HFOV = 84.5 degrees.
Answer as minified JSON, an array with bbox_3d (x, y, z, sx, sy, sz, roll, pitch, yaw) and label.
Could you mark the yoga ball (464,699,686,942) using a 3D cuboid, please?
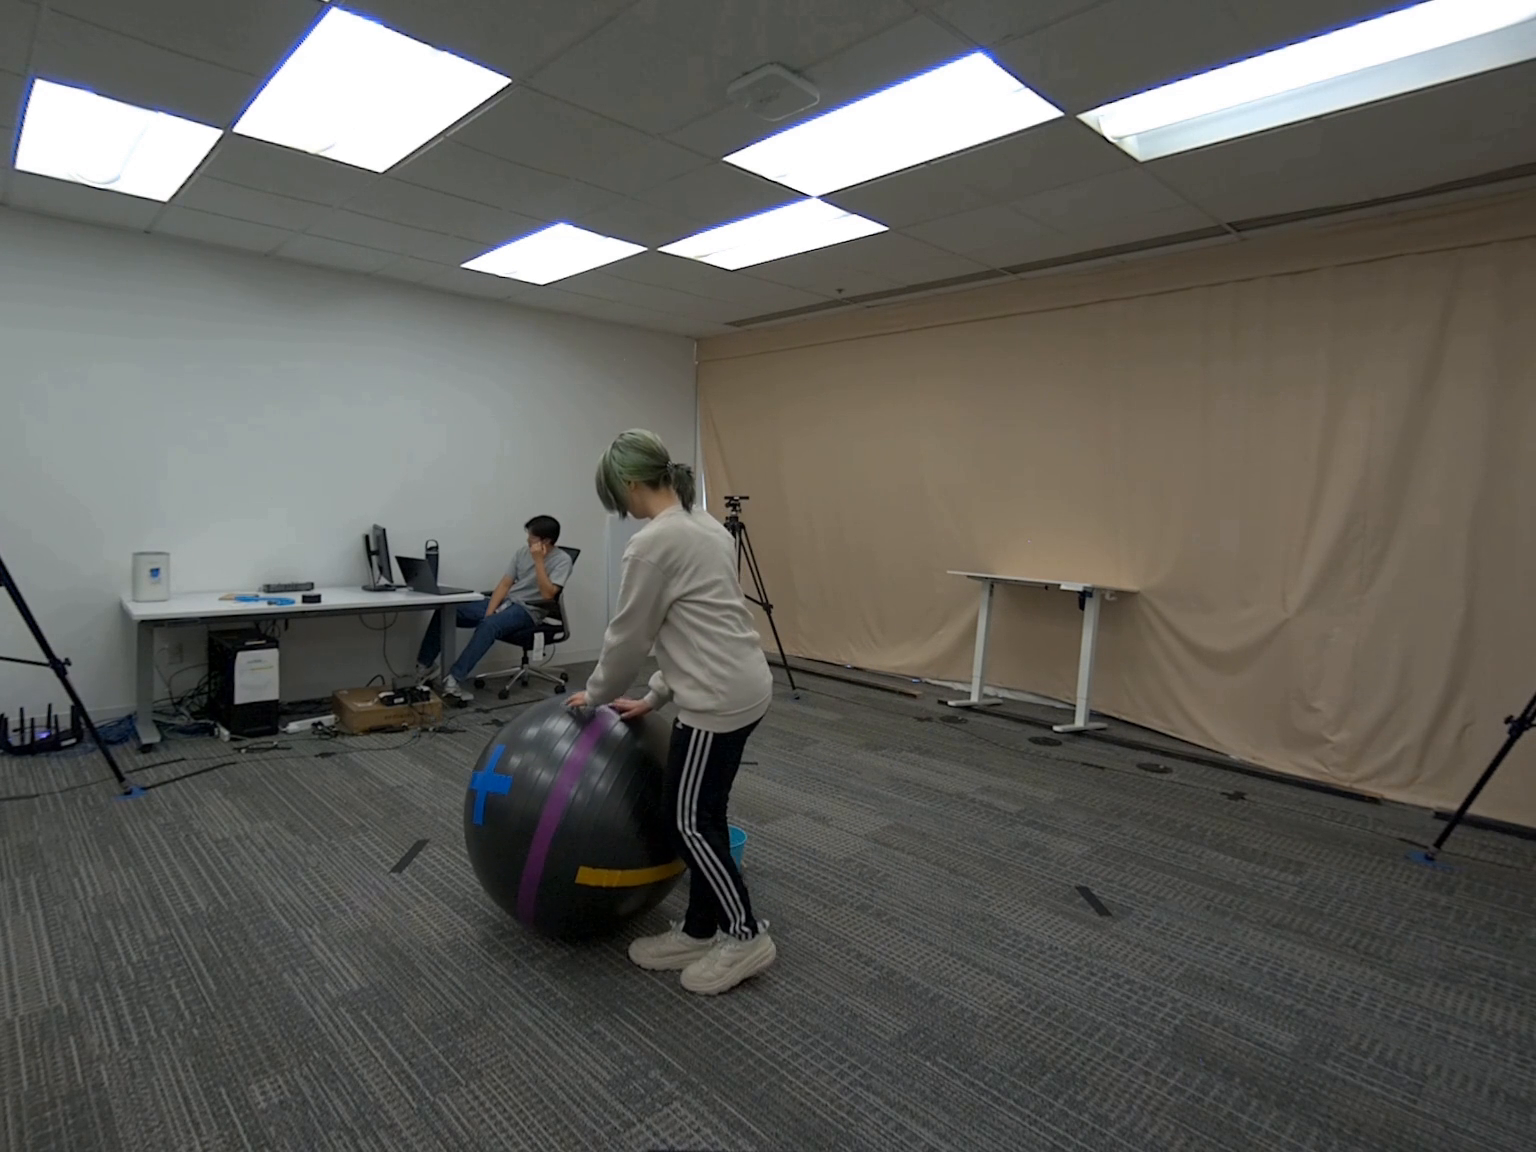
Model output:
[{"bbox_3d":[-0.603,0.765,2.727,0.757,0.756,0.761,1,4,-1],"label":"yoga ball"}]
